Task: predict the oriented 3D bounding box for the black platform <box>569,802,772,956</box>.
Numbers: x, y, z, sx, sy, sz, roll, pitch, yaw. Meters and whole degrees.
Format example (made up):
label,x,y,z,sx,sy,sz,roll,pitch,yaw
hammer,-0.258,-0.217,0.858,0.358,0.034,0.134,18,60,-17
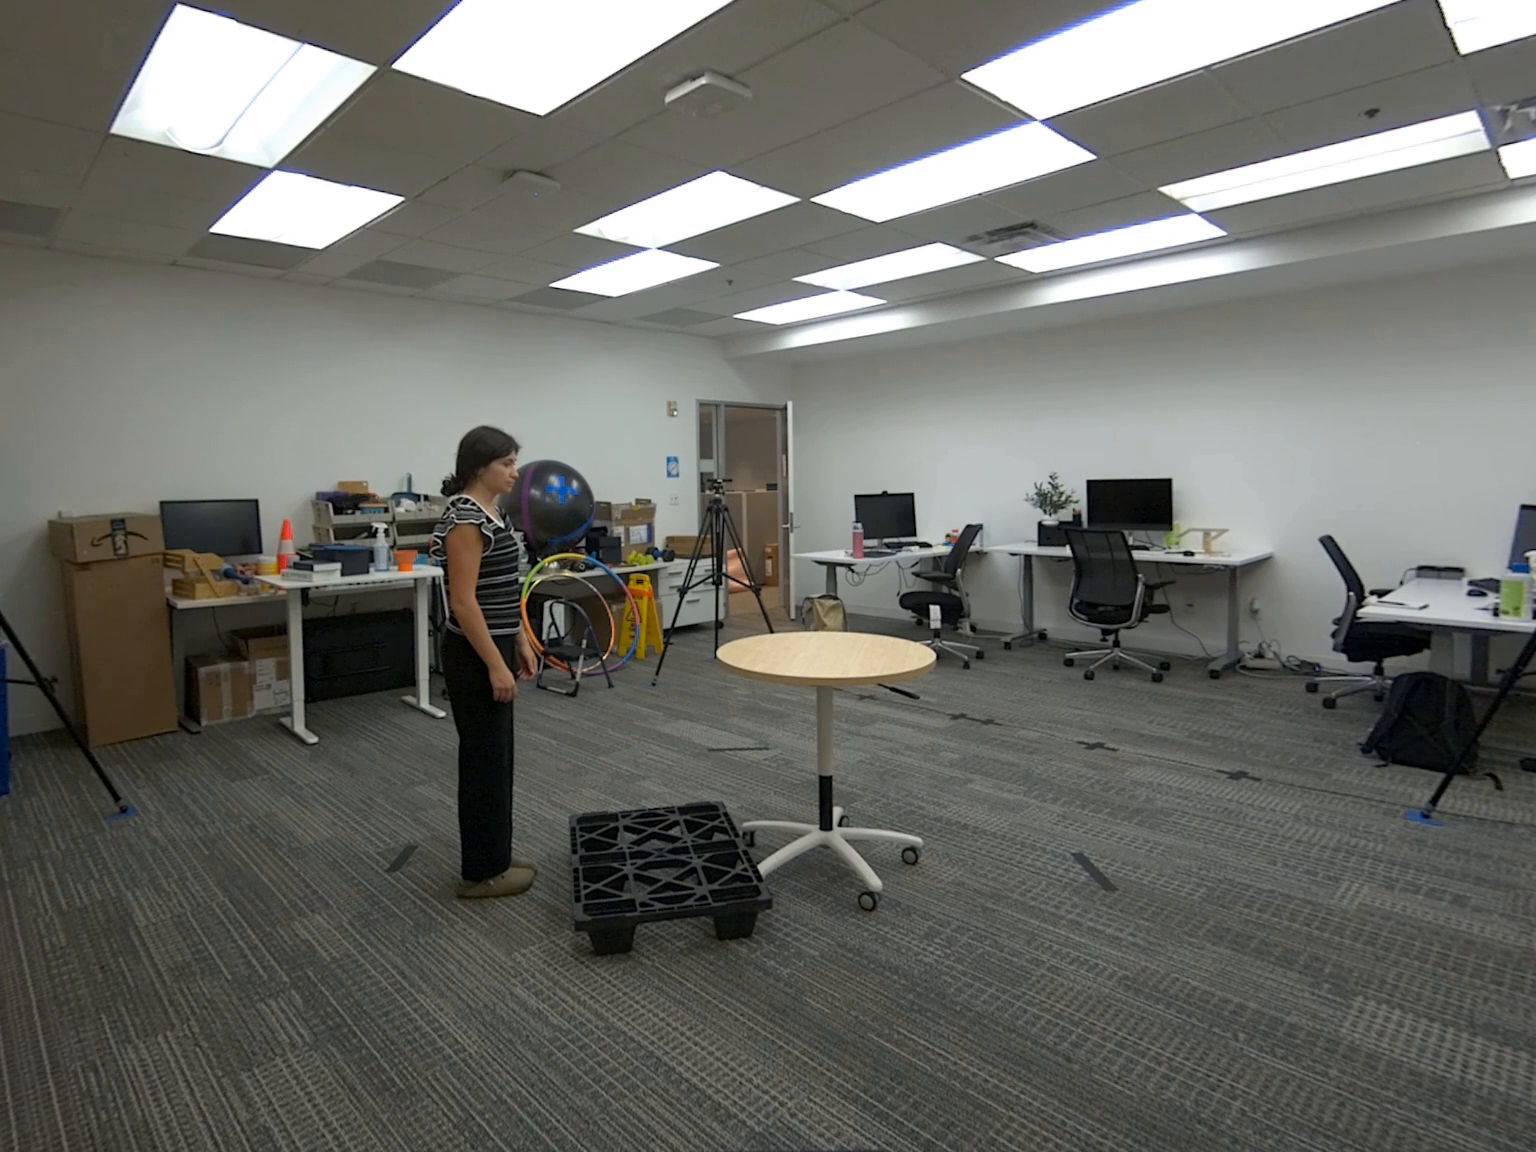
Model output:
label,x,y,z,sx,sy,sz,roll,pitch,yaw
black platform,-0.365,1.002,2.923,0.598,0.142,0.819,-2,7,-13
